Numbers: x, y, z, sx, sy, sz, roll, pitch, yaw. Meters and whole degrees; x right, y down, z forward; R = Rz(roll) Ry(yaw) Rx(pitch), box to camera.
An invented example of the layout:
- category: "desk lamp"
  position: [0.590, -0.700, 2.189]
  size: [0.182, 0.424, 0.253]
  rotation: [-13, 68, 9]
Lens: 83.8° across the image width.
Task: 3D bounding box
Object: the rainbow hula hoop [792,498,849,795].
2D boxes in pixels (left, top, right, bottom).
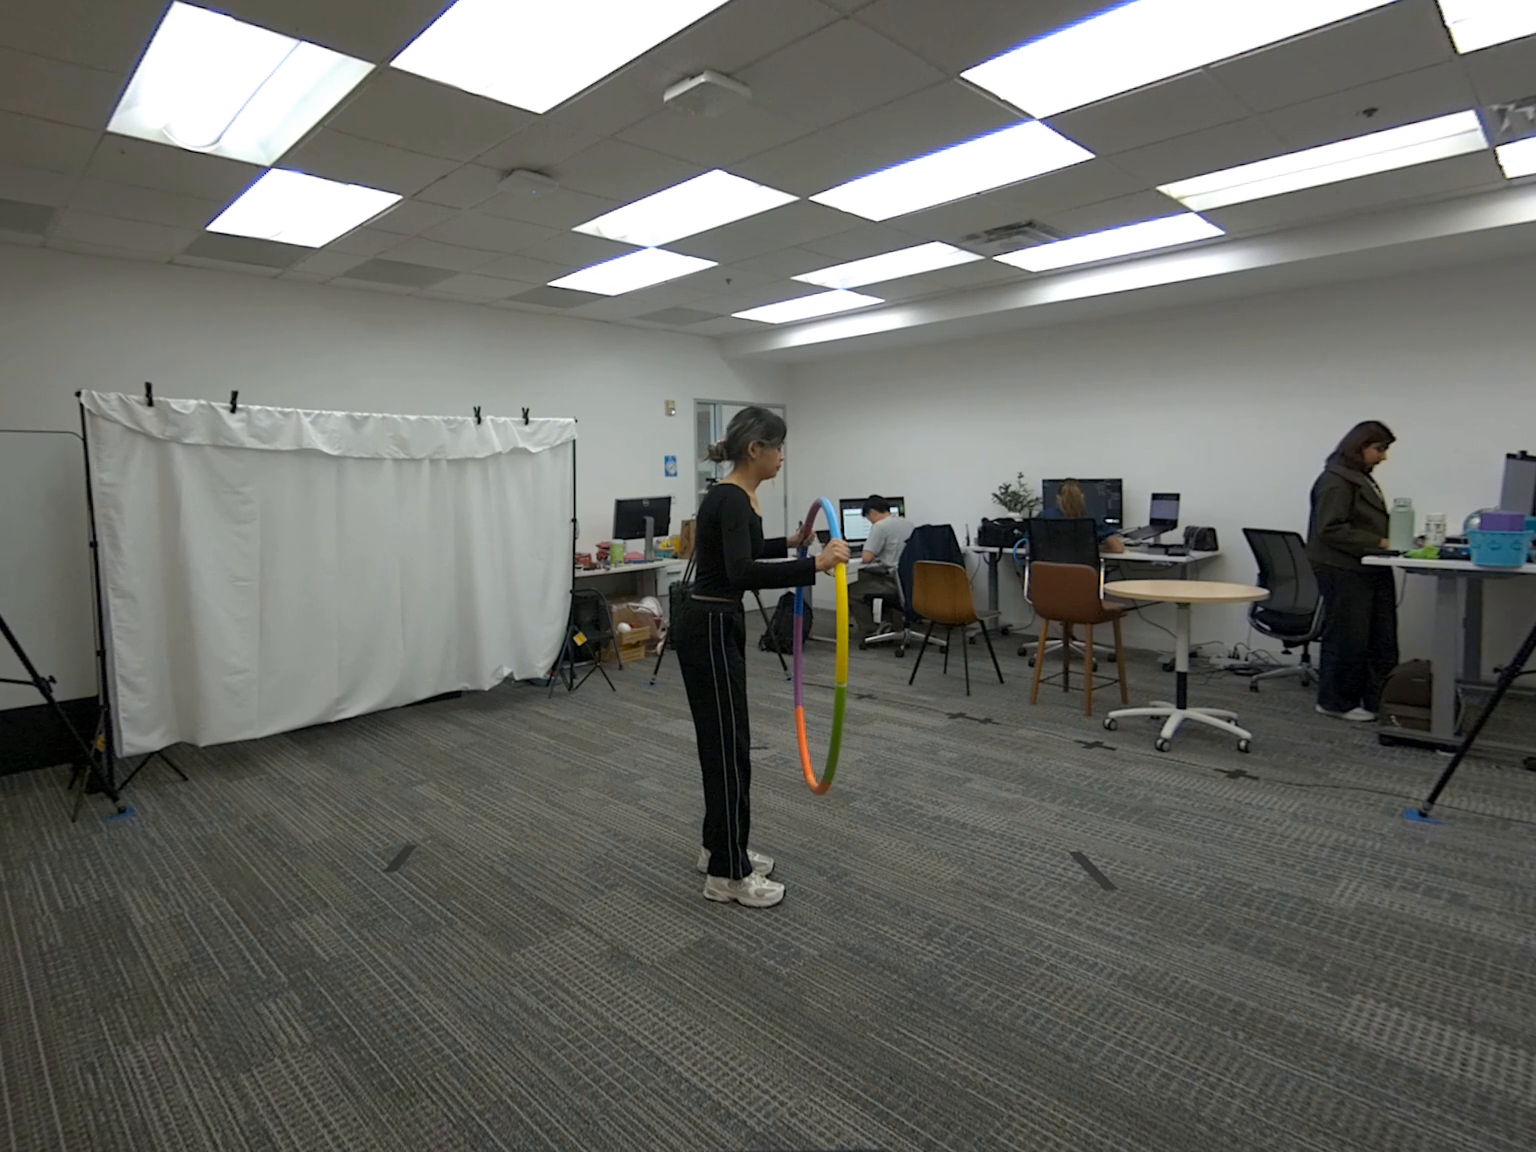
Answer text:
- category: "rainbow hula hoop"
  position: [0.174, 0.234, 2.920]
  size: [0.035, 0.975, 0.986]
  rotation: [2, 4, -6]
